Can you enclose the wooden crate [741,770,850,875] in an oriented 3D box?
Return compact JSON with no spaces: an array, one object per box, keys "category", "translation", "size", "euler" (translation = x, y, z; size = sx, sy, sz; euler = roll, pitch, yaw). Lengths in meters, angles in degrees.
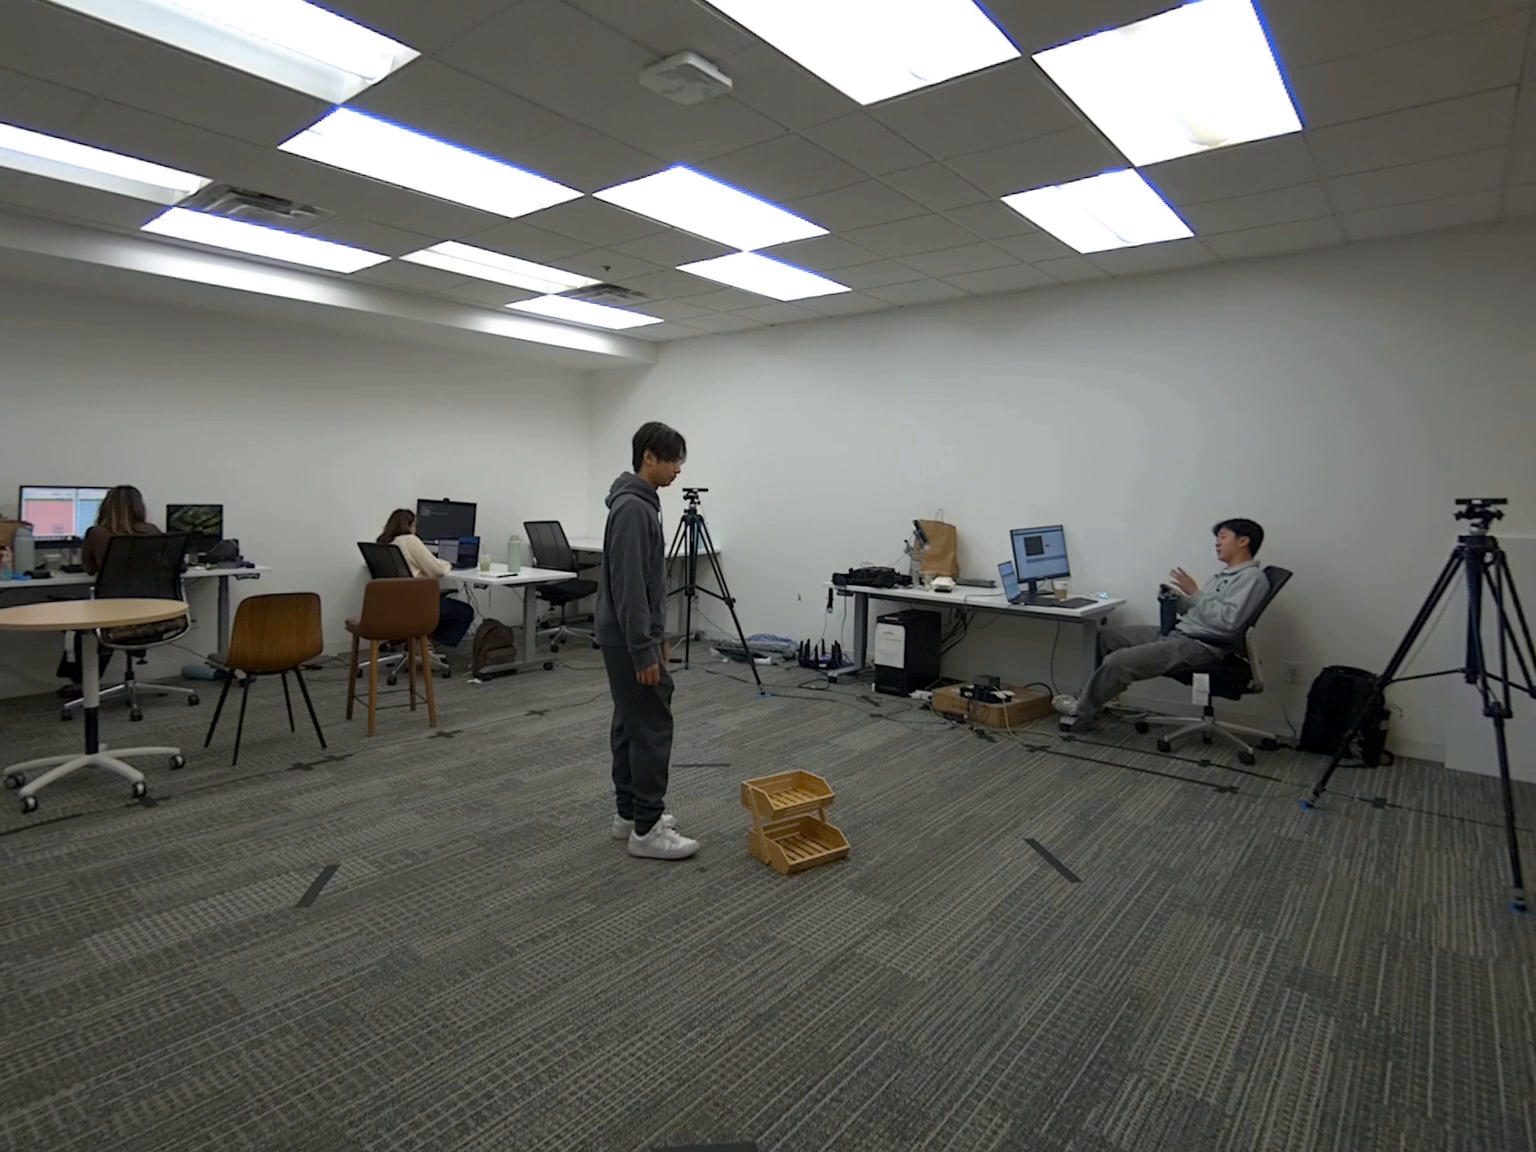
[{"category":"wooden crate","translation":[0.097,0.930,3.257],"size":[0.315,0.272,0.312],"euler":[-2,5,-37]}]
